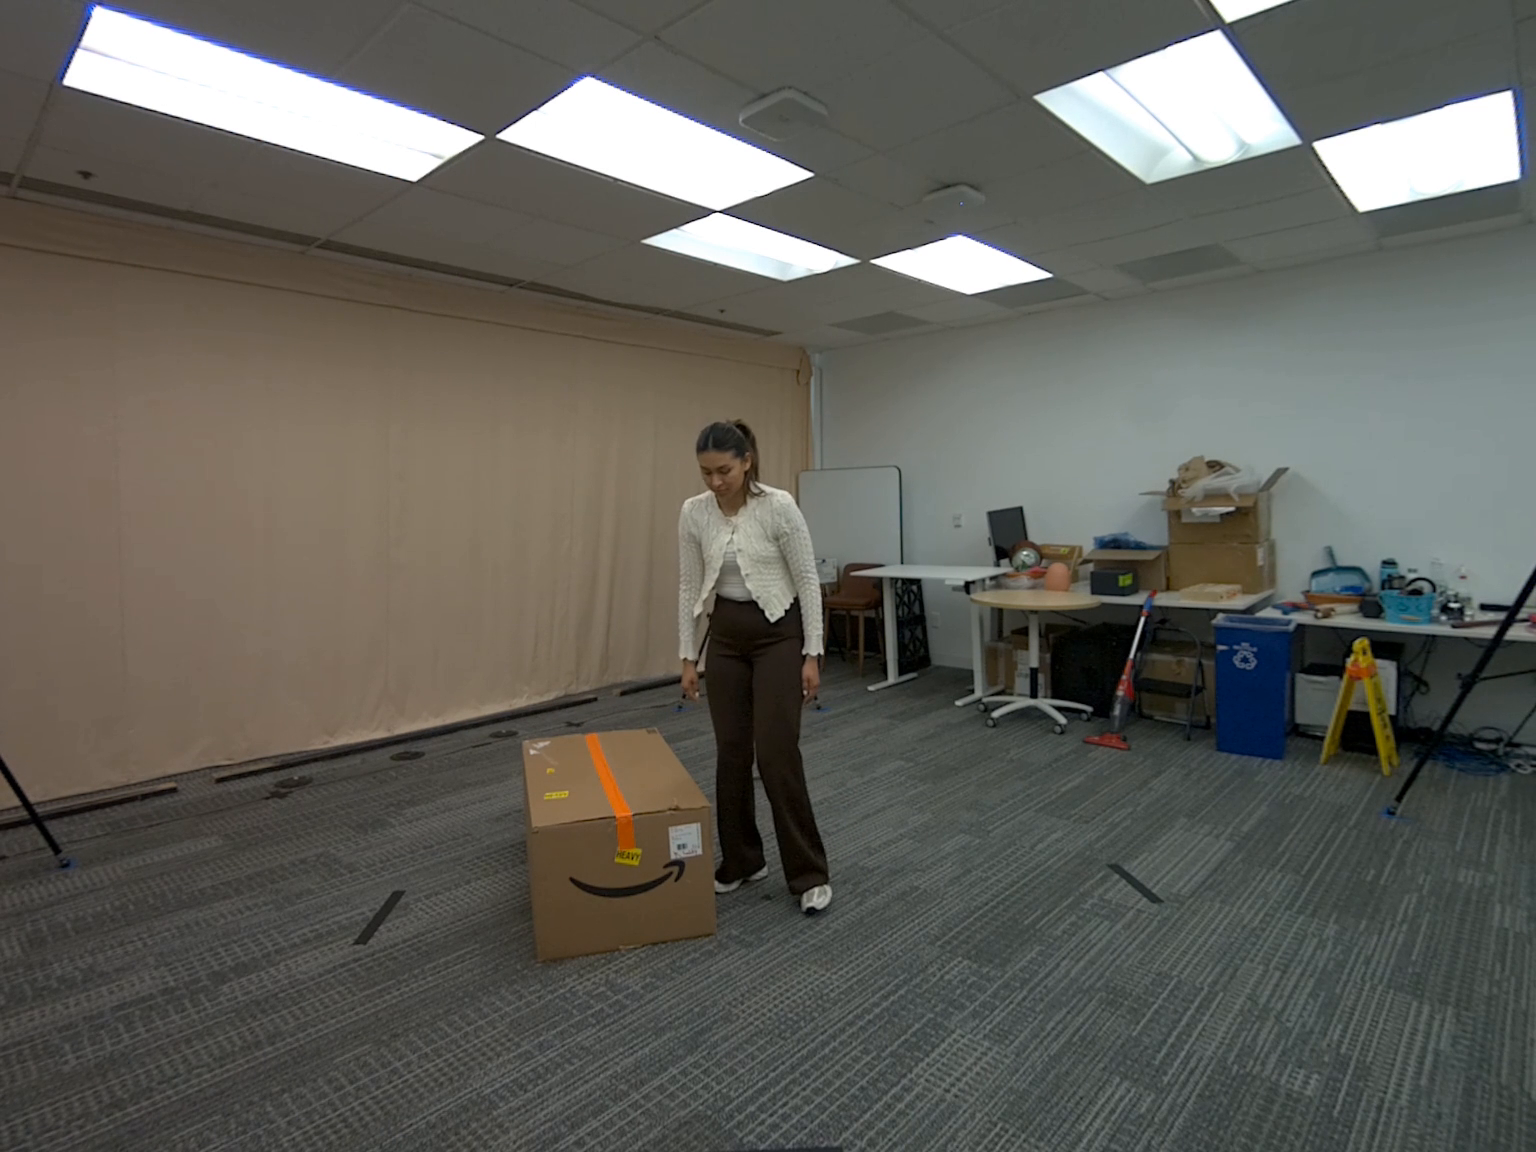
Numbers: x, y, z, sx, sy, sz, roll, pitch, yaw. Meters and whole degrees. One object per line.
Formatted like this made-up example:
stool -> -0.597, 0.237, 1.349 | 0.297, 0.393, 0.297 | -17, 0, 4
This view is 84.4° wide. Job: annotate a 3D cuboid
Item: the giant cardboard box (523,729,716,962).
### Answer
giant cardboard box -> -0.600, 0.922, 3.137 | 0.568, 0.425, 1.045 | -3, 5, -17
